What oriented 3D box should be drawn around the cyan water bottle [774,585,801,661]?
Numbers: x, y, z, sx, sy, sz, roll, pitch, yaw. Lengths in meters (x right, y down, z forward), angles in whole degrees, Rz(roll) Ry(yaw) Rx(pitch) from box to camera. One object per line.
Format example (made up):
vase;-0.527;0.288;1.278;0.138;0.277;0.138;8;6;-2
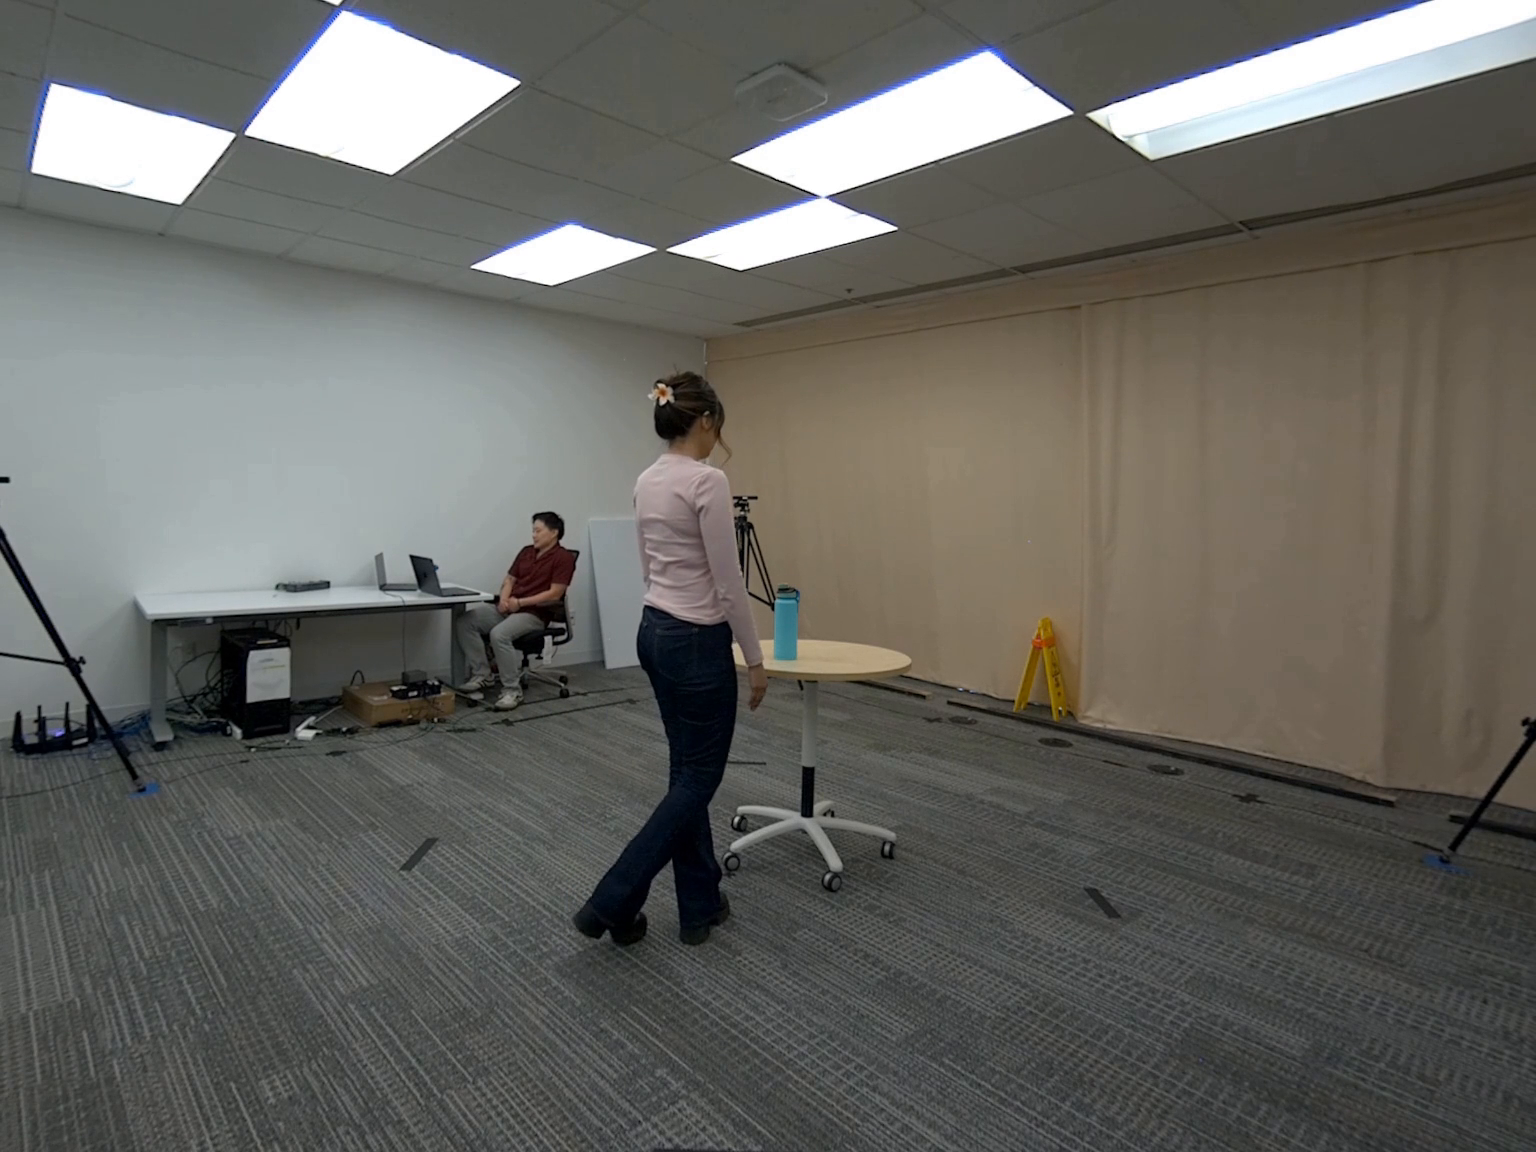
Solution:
cyan water bottle;0.067;0.175;3.203;0.092;0.283;0.092;3;2;-1
